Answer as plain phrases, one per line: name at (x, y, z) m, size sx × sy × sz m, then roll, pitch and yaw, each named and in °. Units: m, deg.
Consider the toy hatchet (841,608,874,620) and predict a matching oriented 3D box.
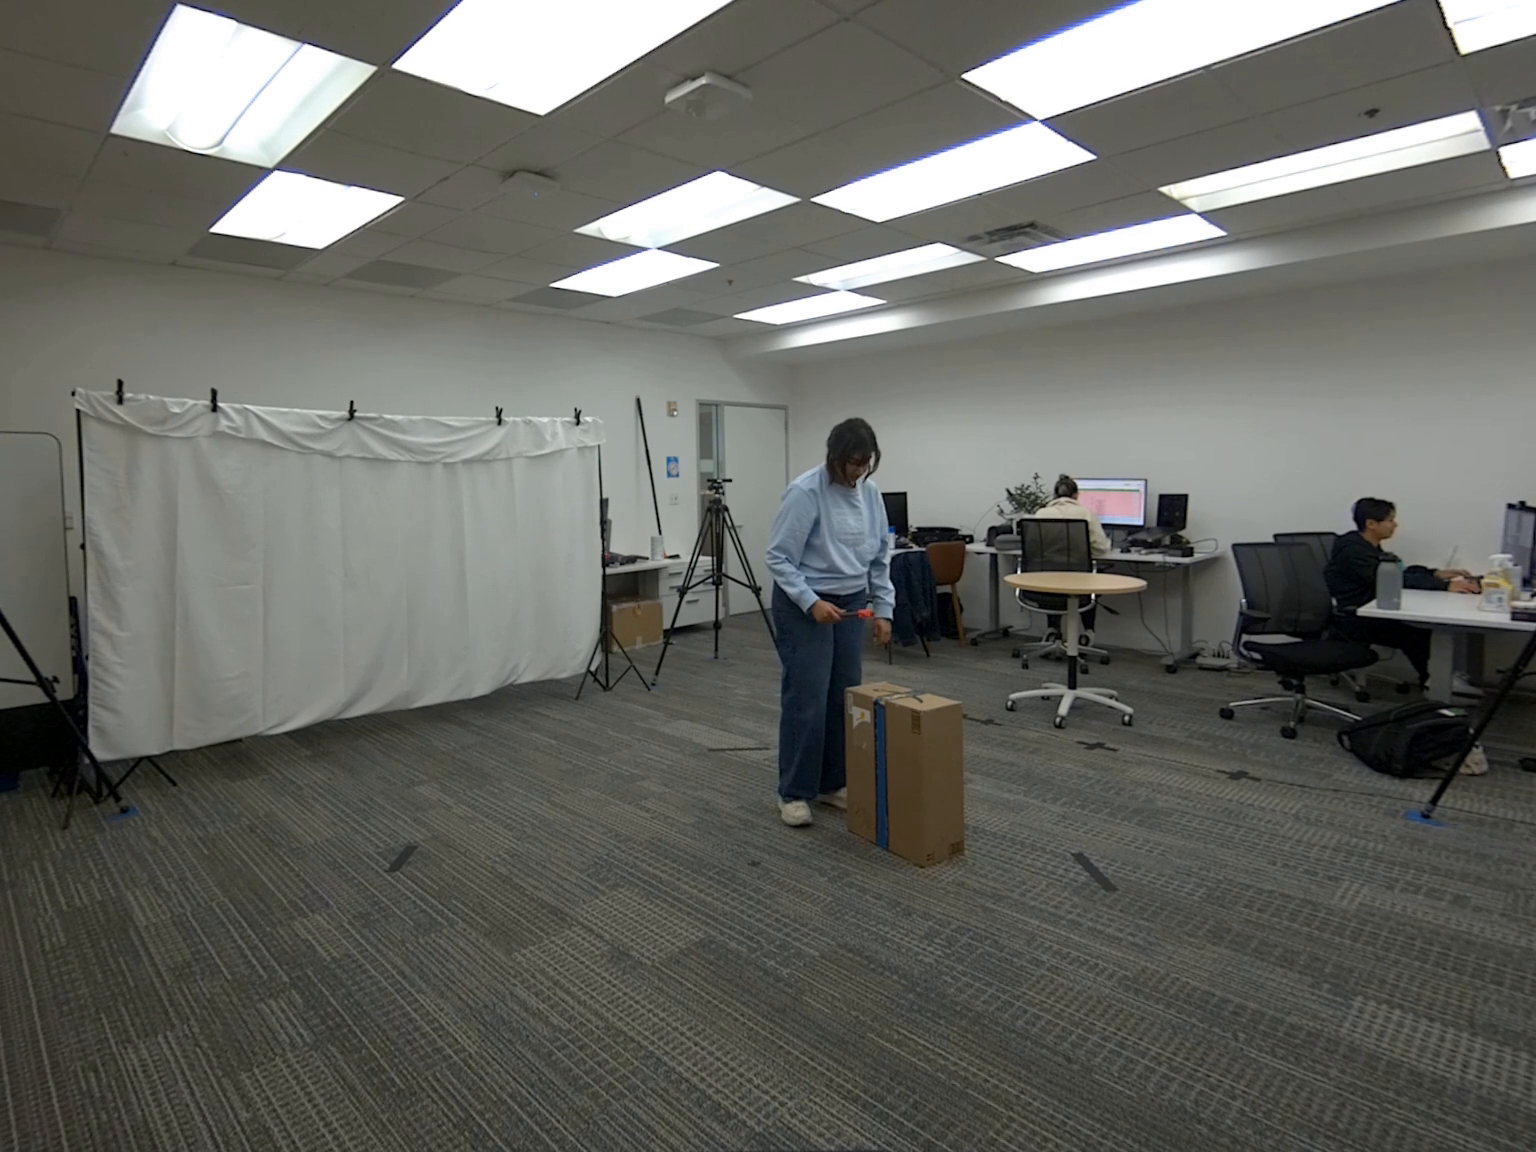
toy hatchet at (0.294, 0.163, 3.367) m, size 0.277 × 0.030 × 0.127 m, roll -7°, pitch -8°, yaw 44°
